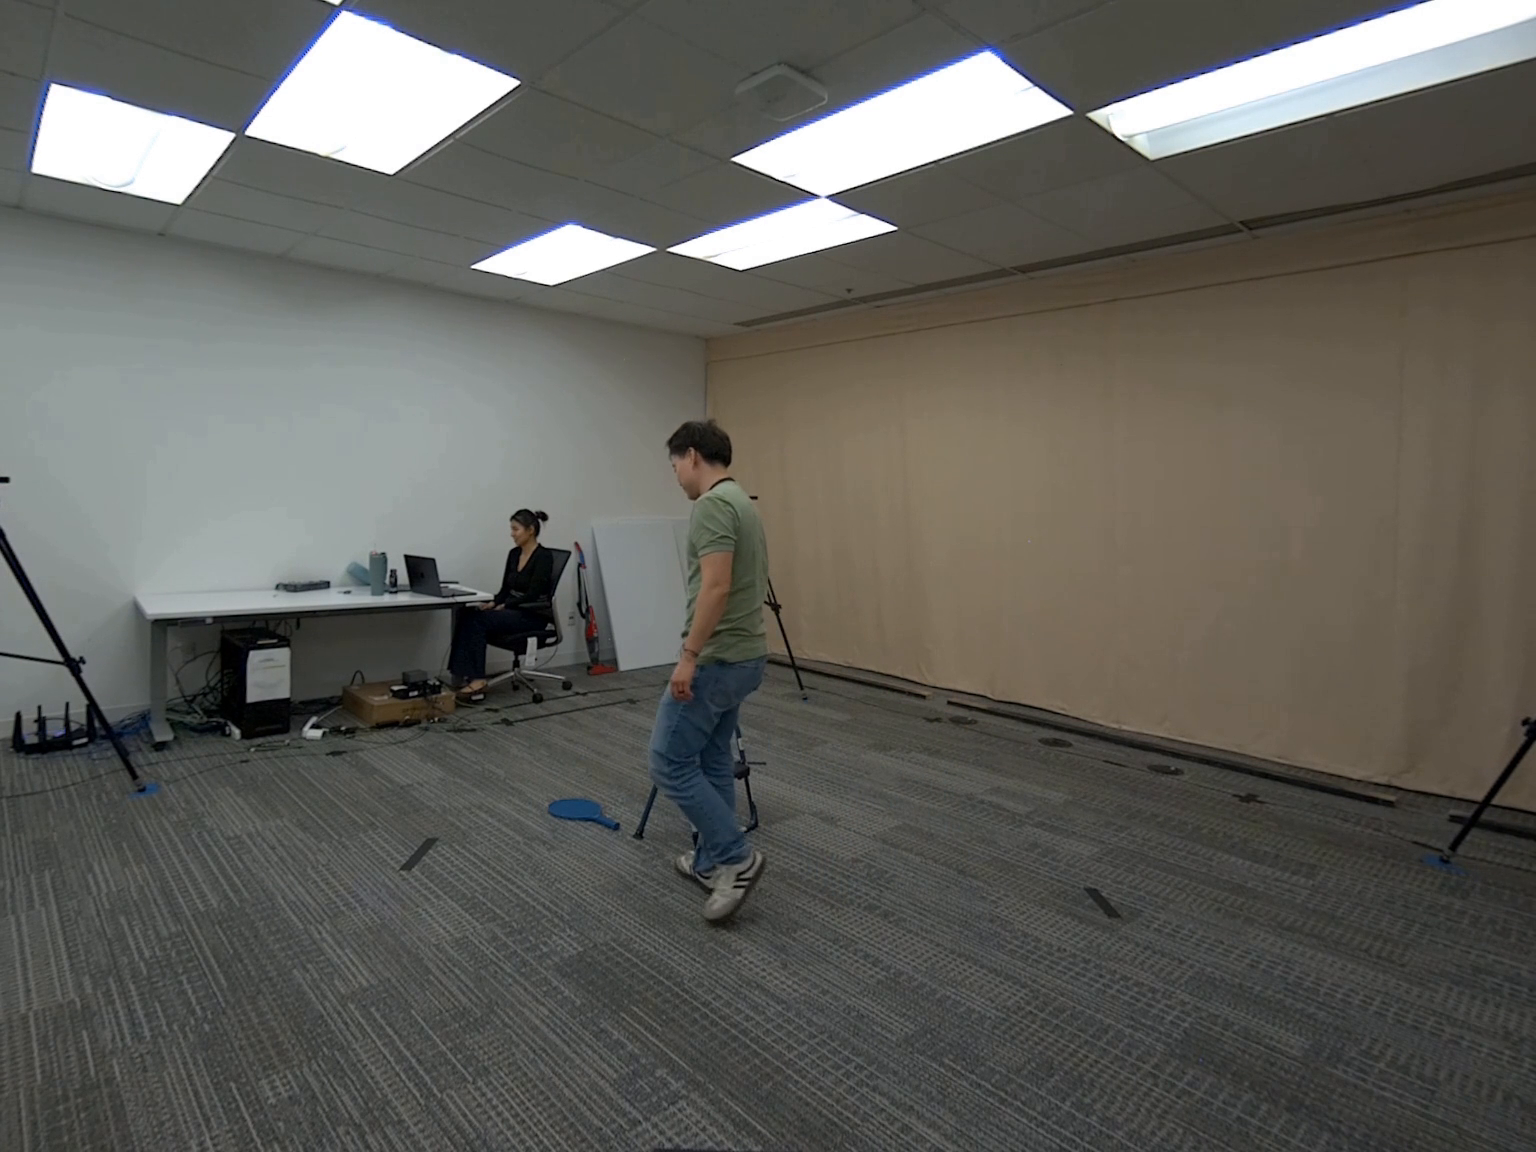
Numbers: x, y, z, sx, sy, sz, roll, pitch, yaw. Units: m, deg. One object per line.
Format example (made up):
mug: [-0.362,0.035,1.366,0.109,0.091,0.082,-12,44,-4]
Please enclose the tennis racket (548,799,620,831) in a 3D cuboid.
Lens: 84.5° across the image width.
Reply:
tennis racket: [-0.792,1.020,3.641,0.209,0.032,0.444,-4,6,-45]
